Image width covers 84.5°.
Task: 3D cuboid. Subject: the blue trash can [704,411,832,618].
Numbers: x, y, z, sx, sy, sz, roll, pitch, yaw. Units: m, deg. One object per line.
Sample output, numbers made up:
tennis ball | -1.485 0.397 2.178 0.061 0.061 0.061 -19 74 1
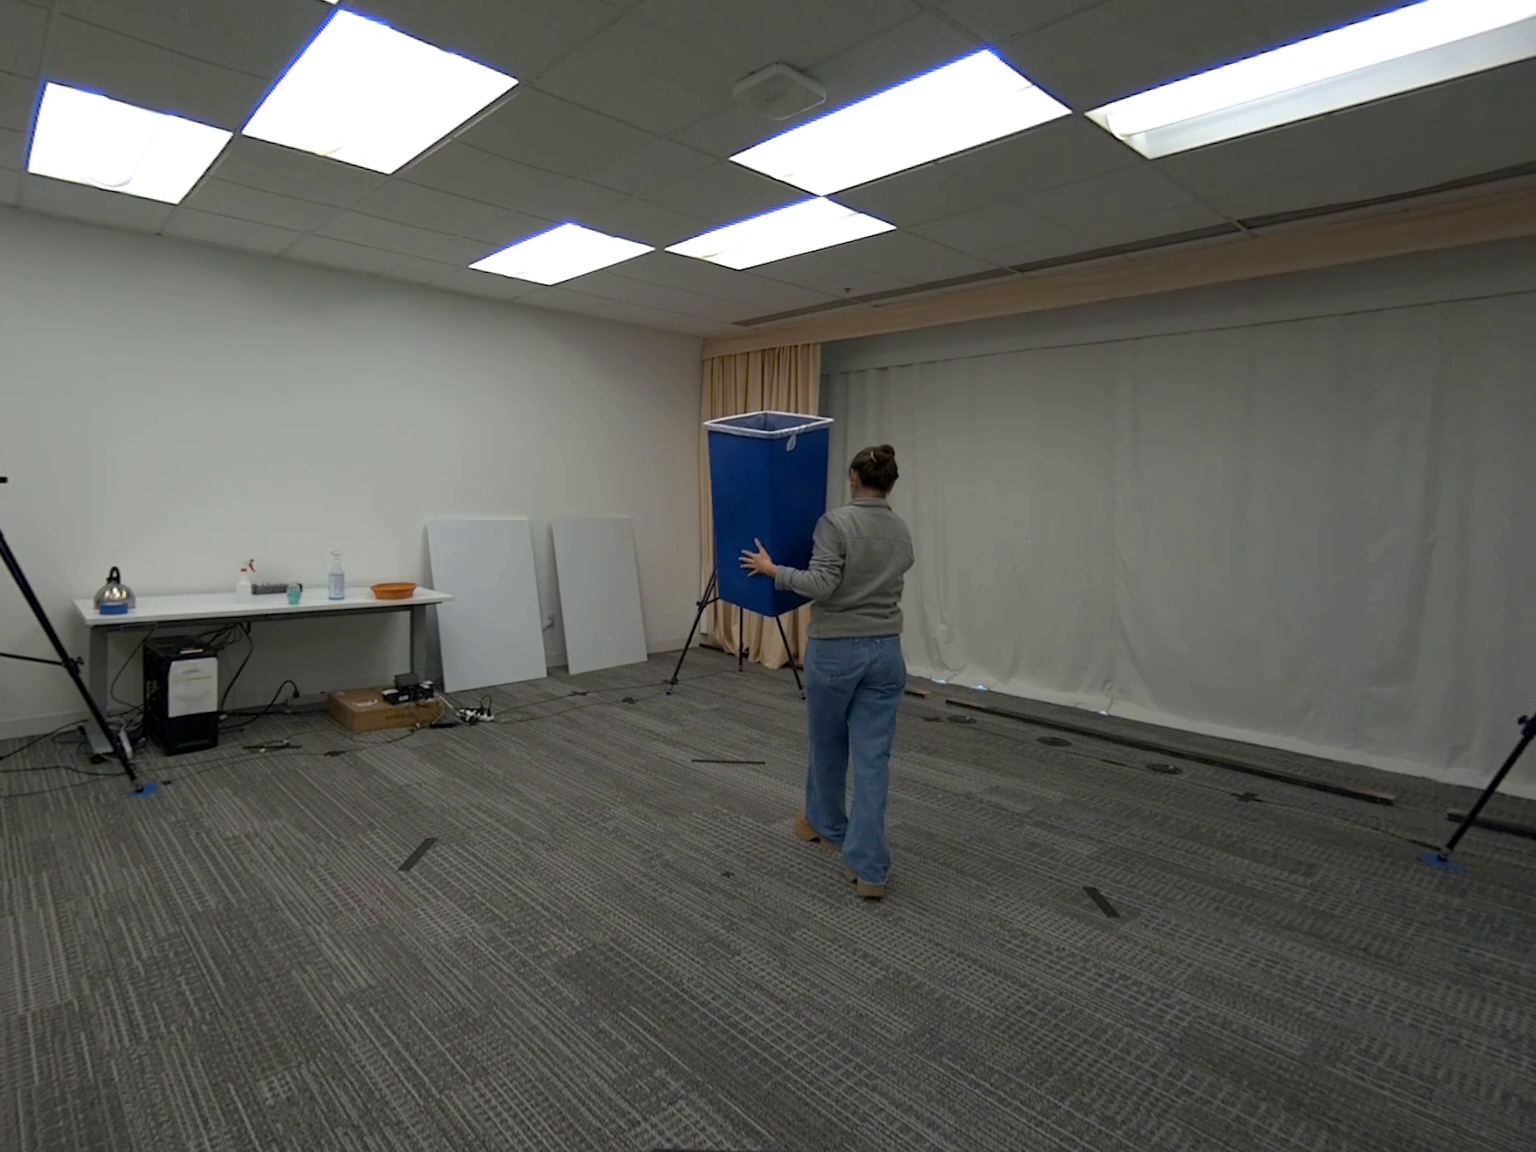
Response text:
blue trash can | -0.009 -0.260 3.261 0.385 0.704 0.372 17 24 41
